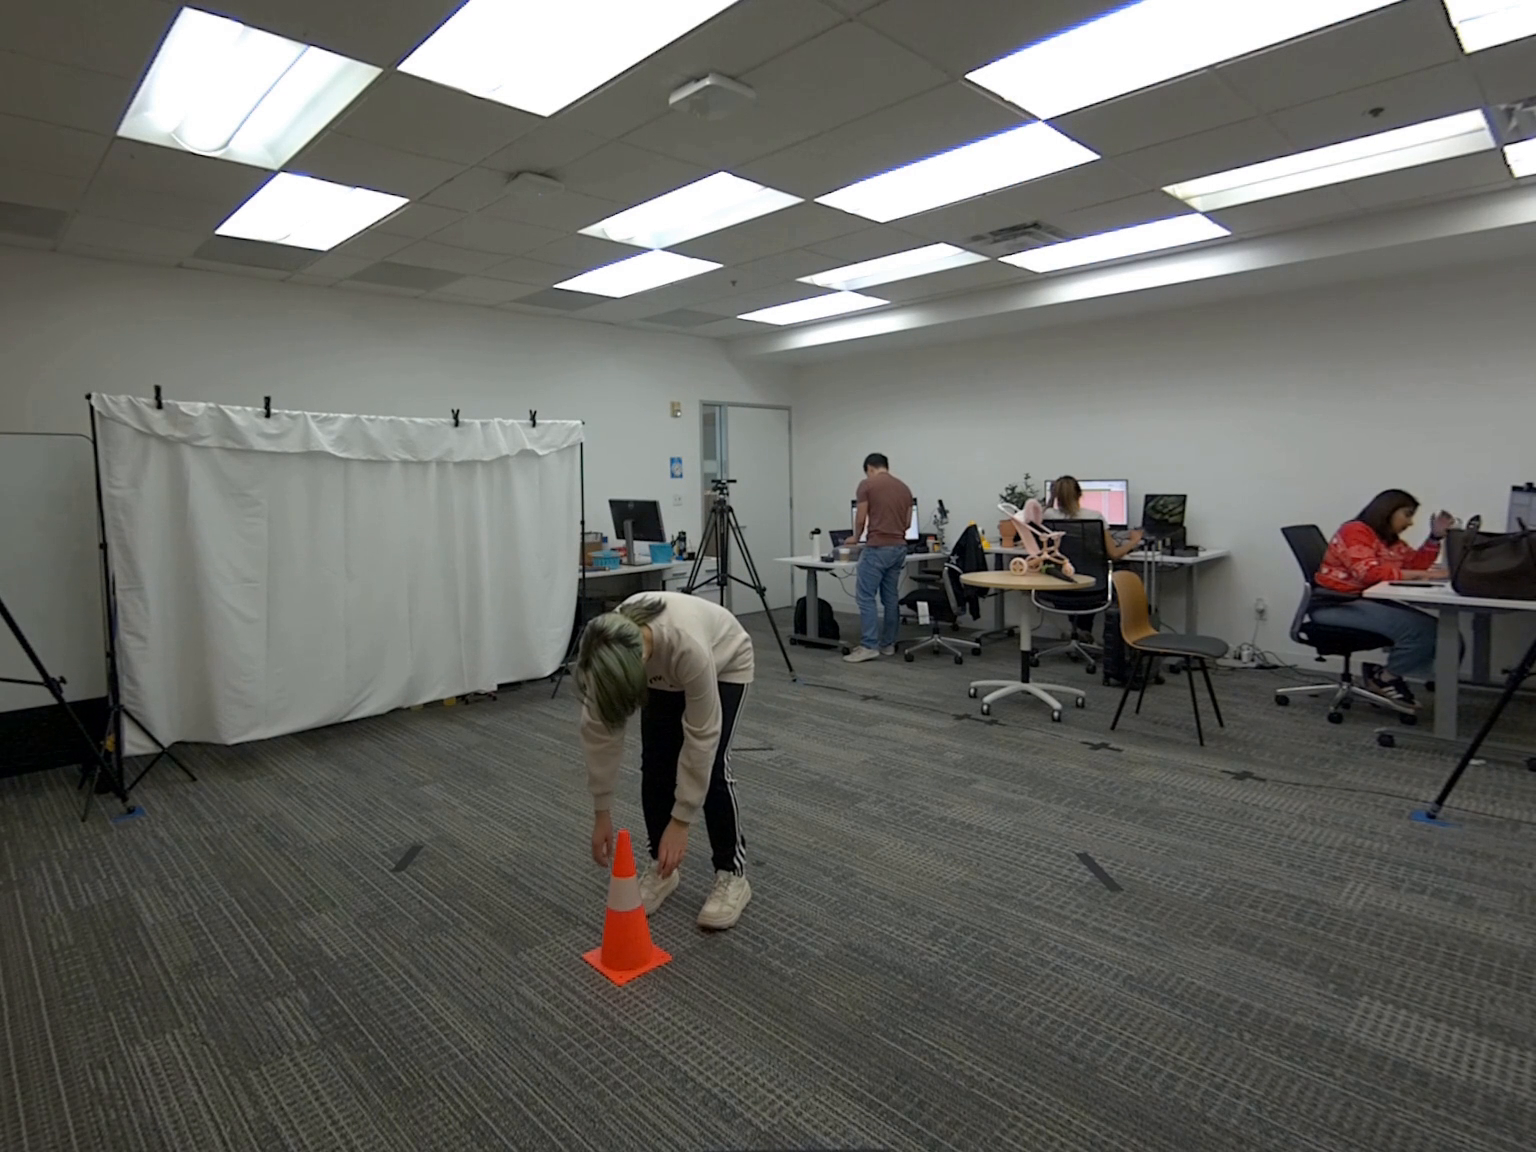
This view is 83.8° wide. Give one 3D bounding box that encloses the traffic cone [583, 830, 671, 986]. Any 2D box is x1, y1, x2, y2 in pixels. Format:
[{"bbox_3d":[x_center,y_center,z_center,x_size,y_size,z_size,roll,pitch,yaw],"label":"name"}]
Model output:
[{"bbox_3d":[-0.417,0.940,2.508,0.198,0.383,0.211,-4,4,-44],"label":"traffic cone"}]
